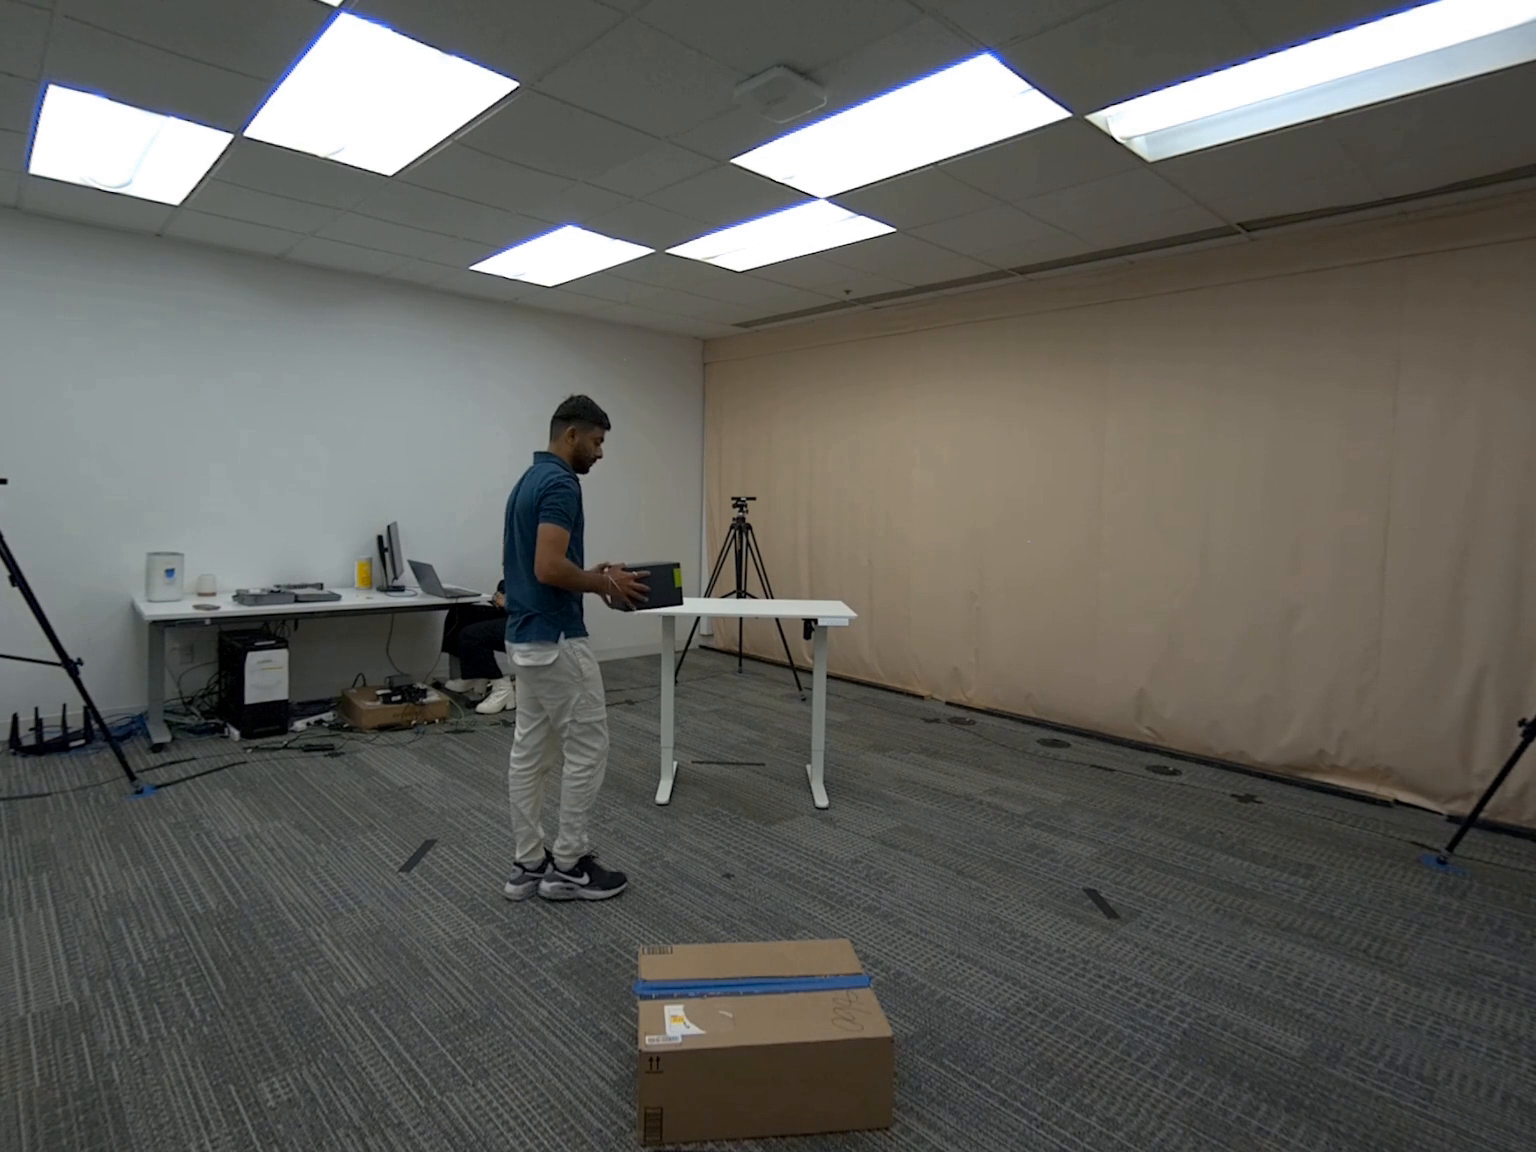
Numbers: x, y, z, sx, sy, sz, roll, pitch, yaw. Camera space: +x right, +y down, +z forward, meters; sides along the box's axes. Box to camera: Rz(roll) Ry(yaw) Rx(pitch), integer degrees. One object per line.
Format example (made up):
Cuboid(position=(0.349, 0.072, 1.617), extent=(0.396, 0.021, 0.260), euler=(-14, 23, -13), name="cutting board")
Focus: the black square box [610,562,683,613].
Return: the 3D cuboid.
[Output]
Cuboid(position=(-0.450, 0.035, 3.065), extent=(0.214, 0.156, 0.231), euler=(-4, 3, -19), name="black square box")
